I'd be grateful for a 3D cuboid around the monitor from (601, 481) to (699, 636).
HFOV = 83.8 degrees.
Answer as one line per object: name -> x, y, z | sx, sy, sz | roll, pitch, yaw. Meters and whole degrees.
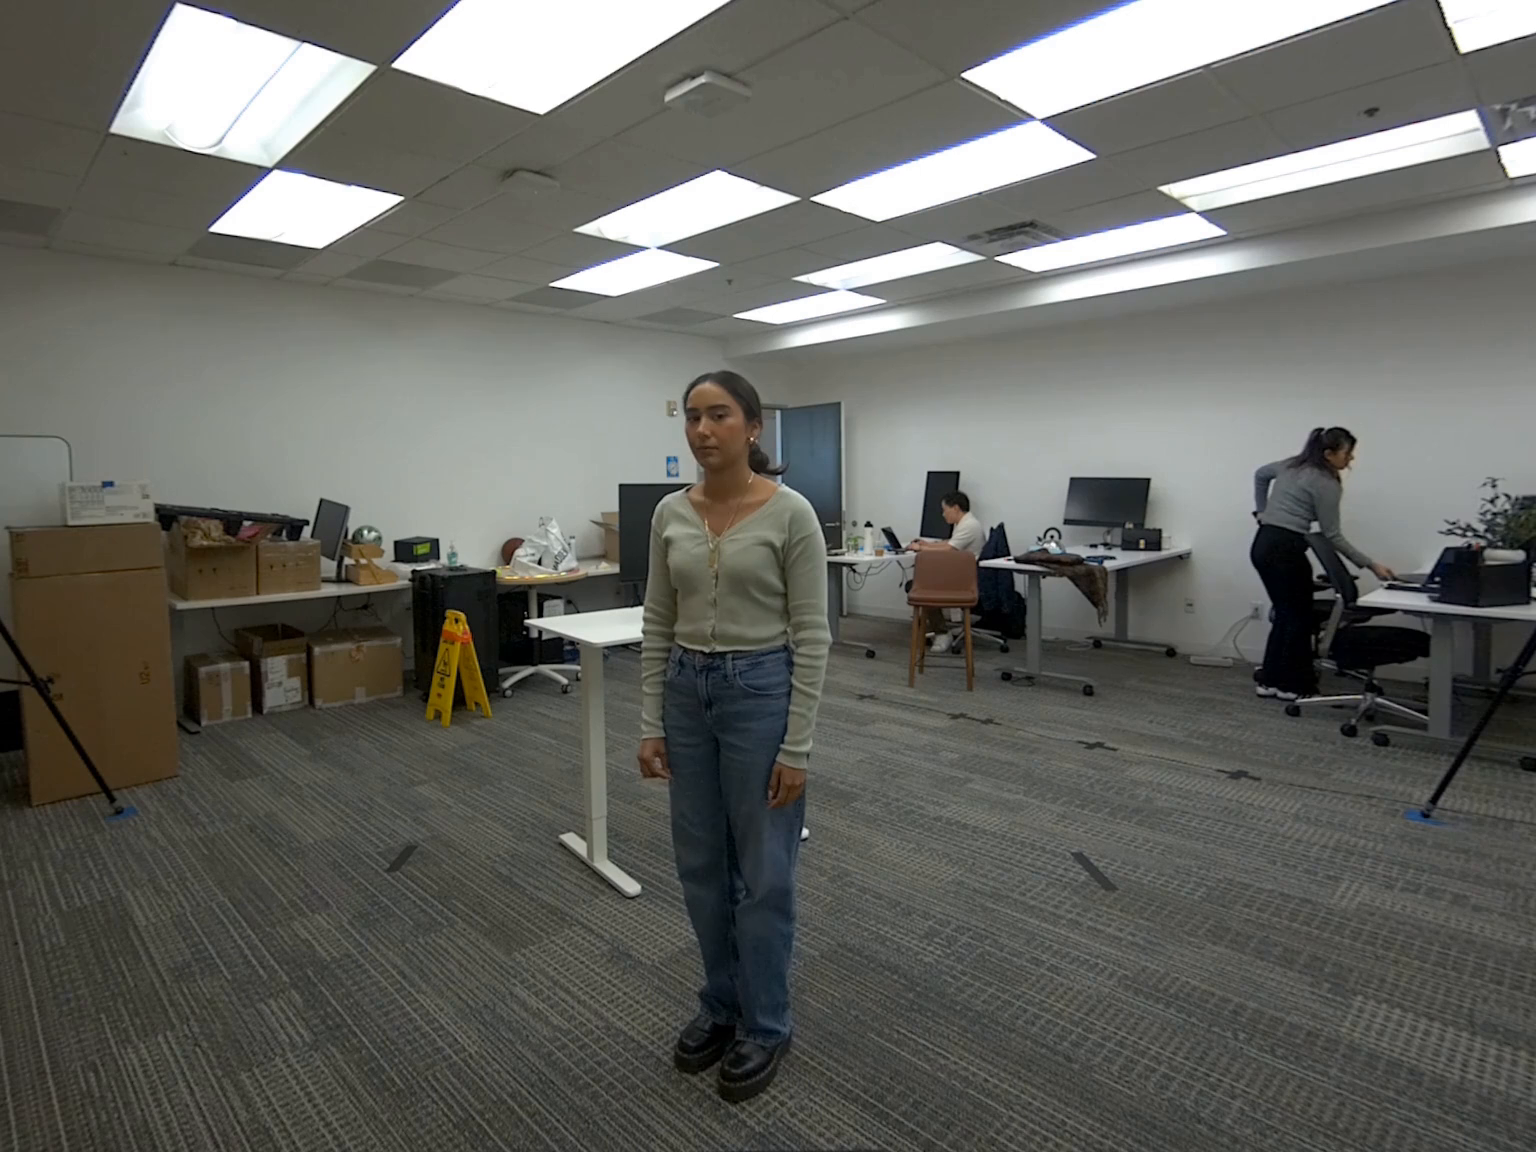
monitor -> -0.330, -0.085, 3.185 | 0.525, 0.519, 0.193 | -4, 10, -40
